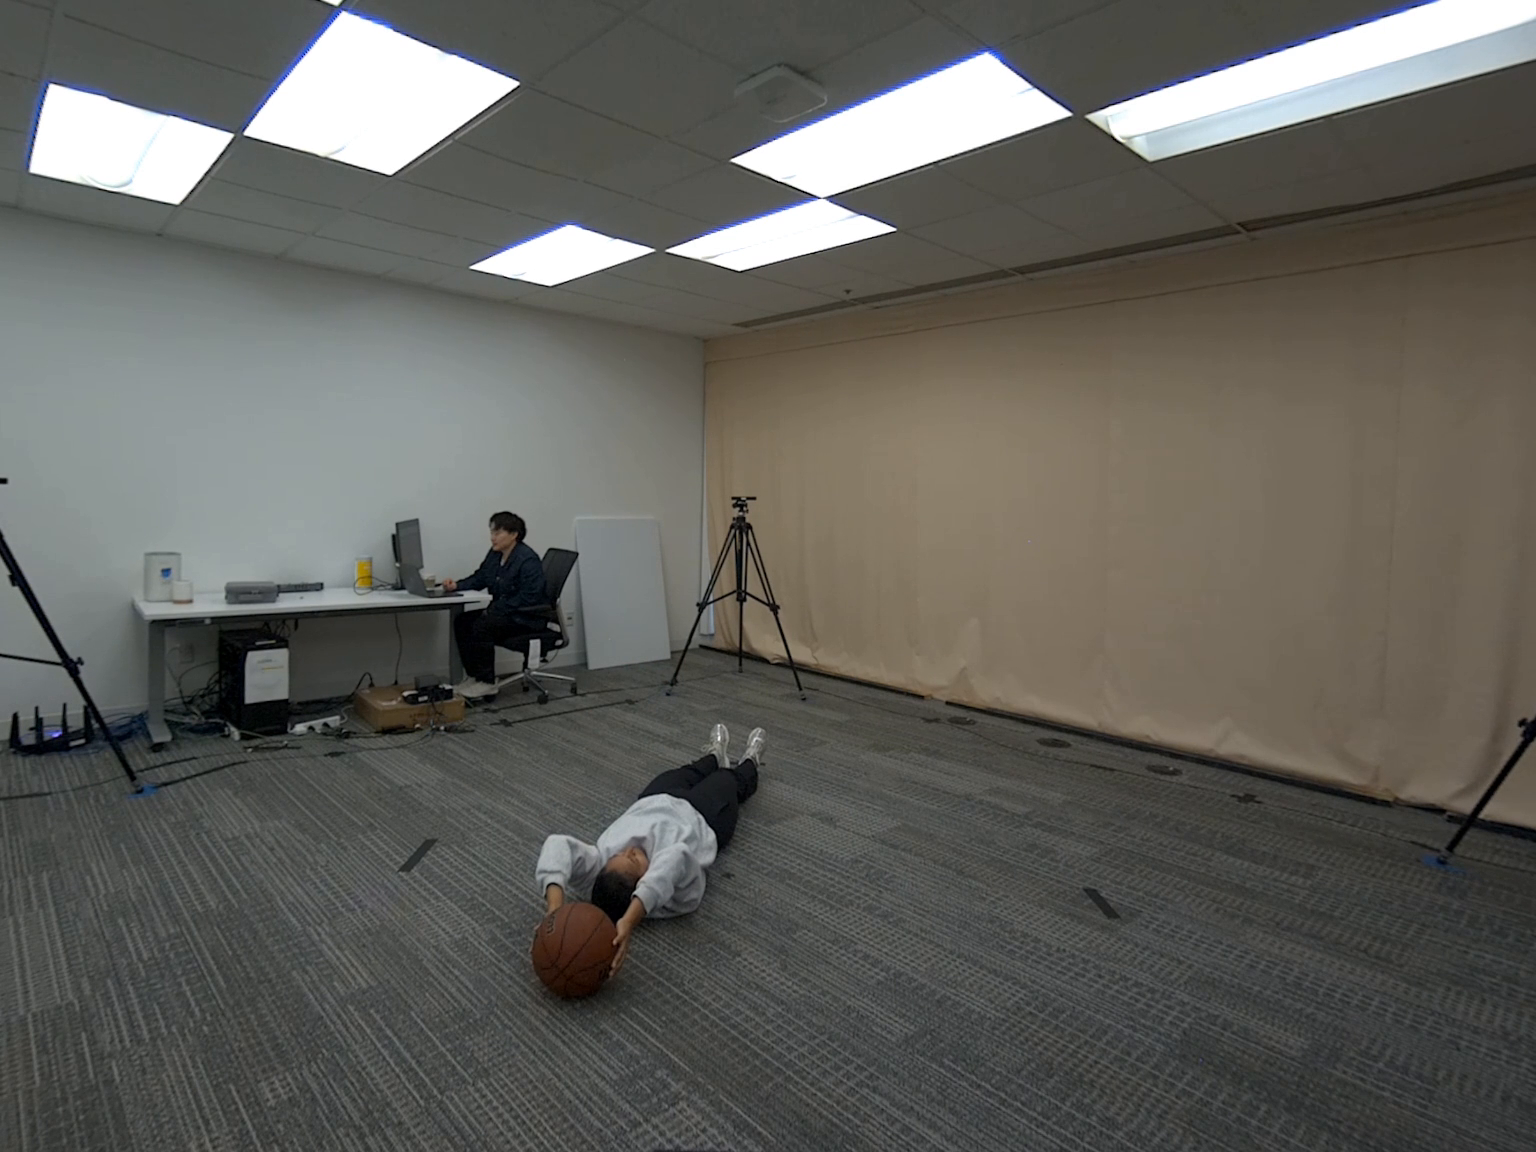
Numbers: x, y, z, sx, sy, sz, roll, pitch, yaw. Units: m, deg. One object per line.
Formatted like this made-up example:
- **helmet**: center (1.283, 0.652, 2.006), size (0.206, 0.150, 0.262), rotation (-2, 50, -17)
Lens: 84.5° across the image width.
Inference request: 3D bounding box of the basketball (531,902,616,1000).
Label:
- **basketball**: center (-0.546, 1.045, 2.359), size (0.236, 0.235, 0.237), rotation (1, 5, -1)
